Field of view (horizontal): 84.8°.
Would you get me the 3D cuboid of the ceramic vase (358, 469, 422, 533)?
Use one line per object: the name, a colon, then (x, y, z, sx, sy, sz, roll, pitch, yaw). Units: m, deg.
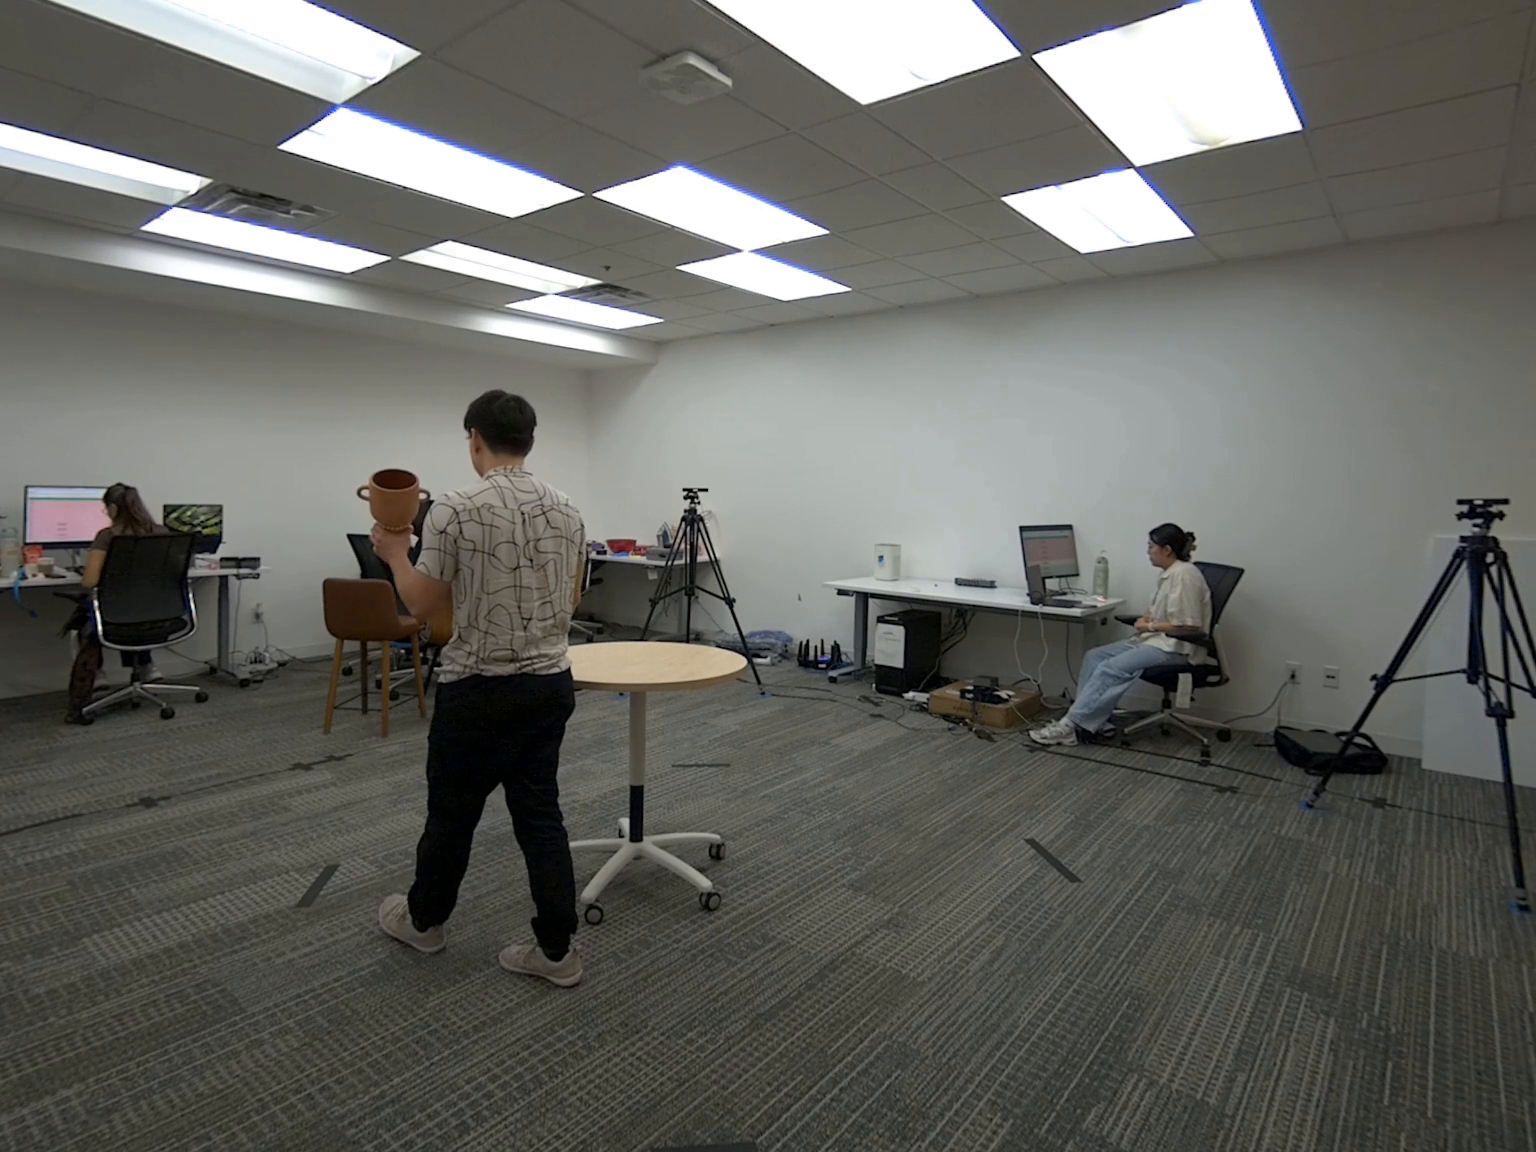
ceramic vase: (-1.101, -0.193, 2.470, 0.162, 0.215, 0.134, 22, 32, 16)
